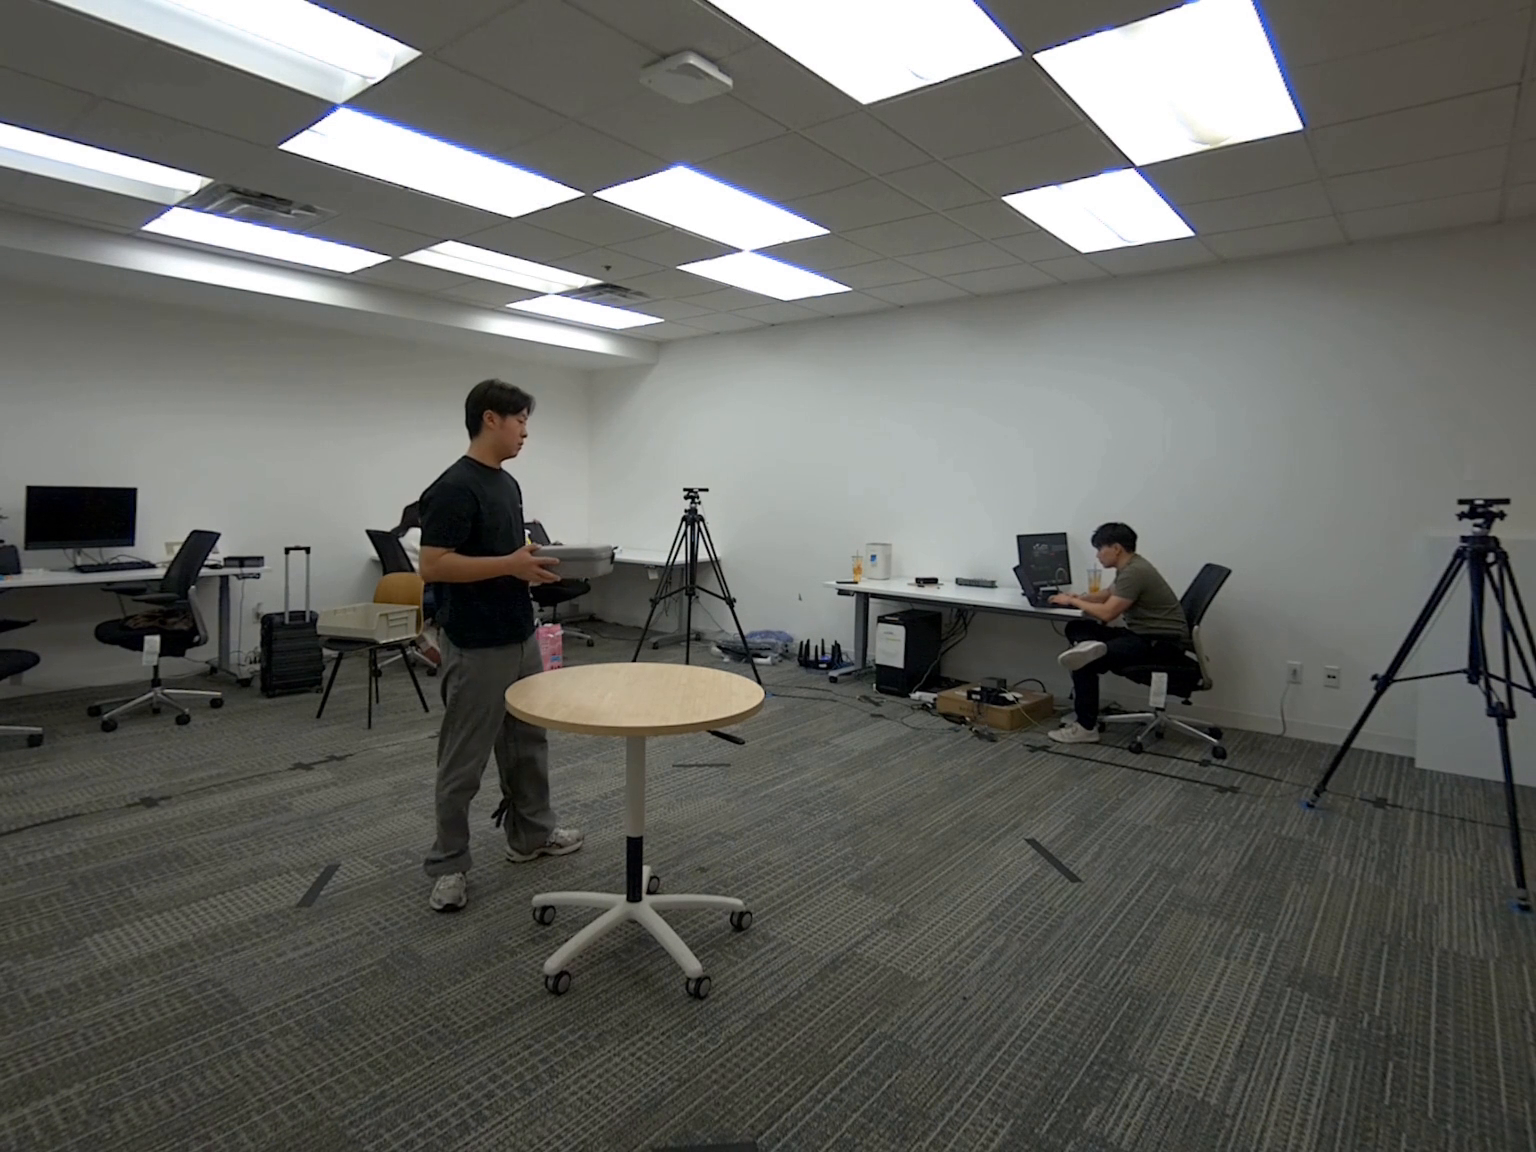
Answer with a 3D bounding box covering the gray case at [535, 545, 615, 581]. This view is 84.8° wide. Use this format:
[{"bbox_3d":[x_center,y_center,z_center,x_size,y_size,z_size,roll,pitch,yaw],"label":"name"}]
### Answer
[{"bbox_3d":[-0.704,-0.053,2.956,0.286,0.102,0.266,0,5,-5],"label":"gray case"}]
